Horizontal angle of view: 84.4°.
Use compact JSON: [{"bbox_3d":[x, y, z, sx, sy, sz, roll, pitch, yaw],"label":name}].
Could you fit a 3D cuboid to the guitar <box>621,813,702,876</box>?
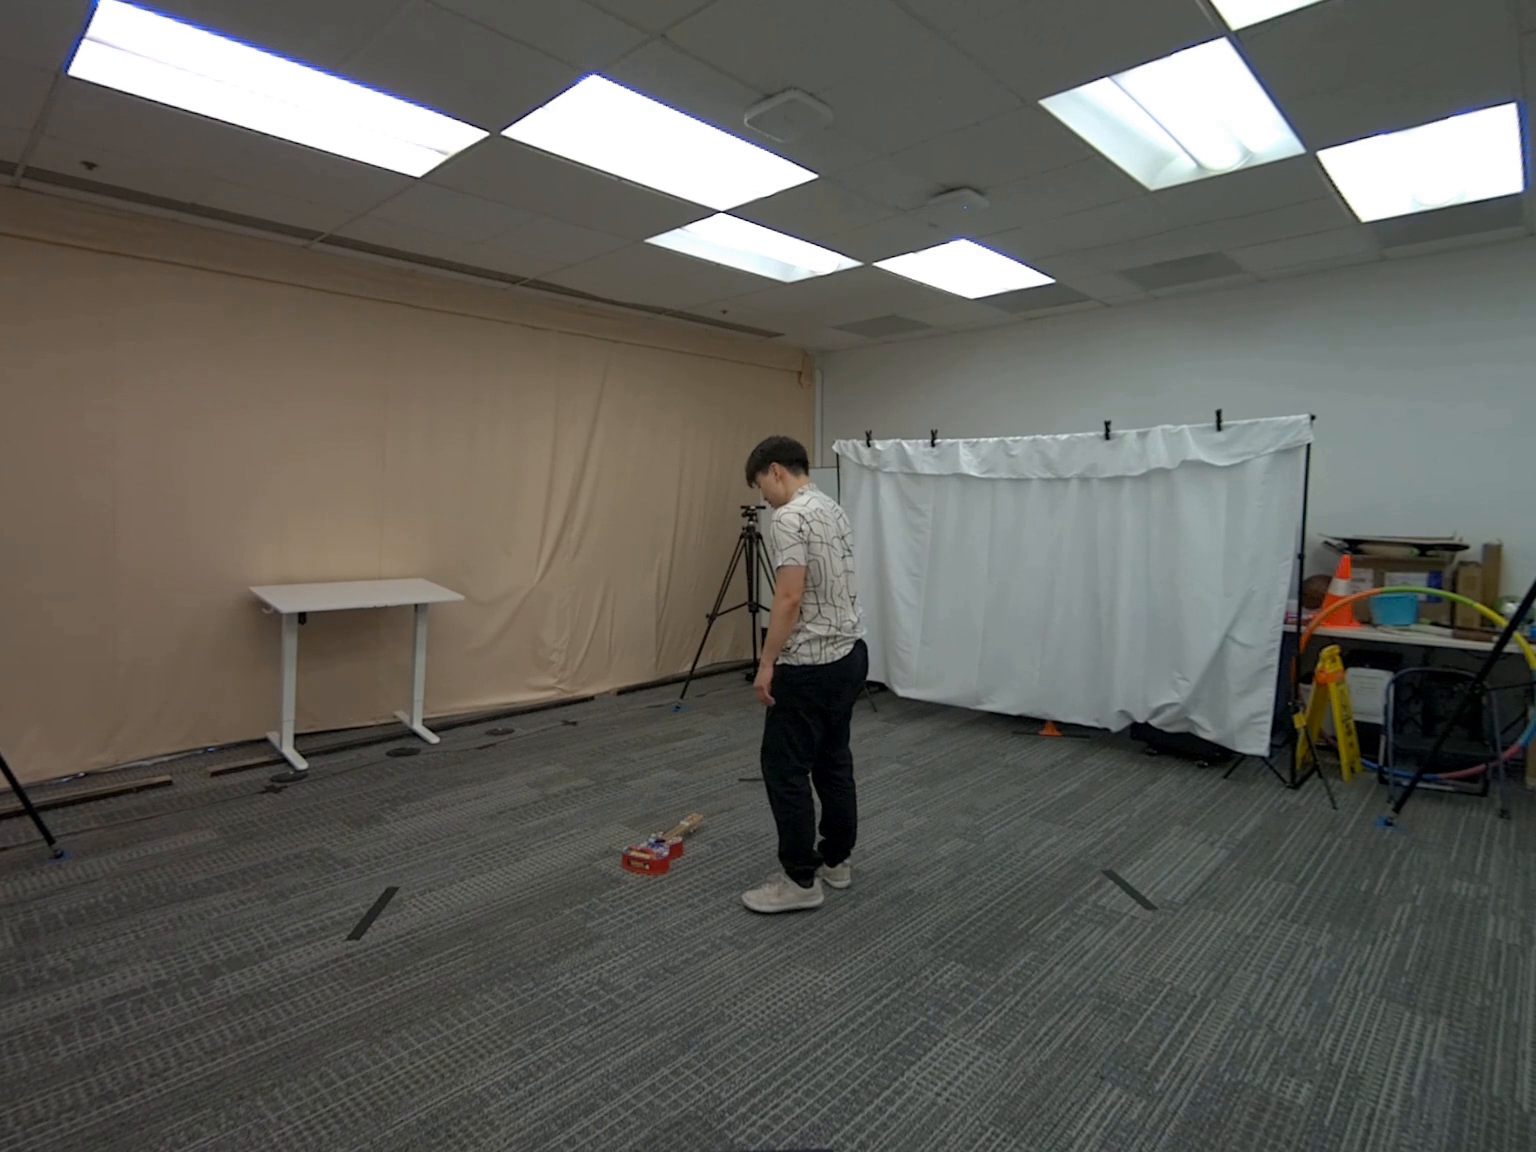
[{"bbox_3d":[-0.376,1.079,3.403,0.199,0.070,0.484,2,6,34],"label":"guitar"}]
